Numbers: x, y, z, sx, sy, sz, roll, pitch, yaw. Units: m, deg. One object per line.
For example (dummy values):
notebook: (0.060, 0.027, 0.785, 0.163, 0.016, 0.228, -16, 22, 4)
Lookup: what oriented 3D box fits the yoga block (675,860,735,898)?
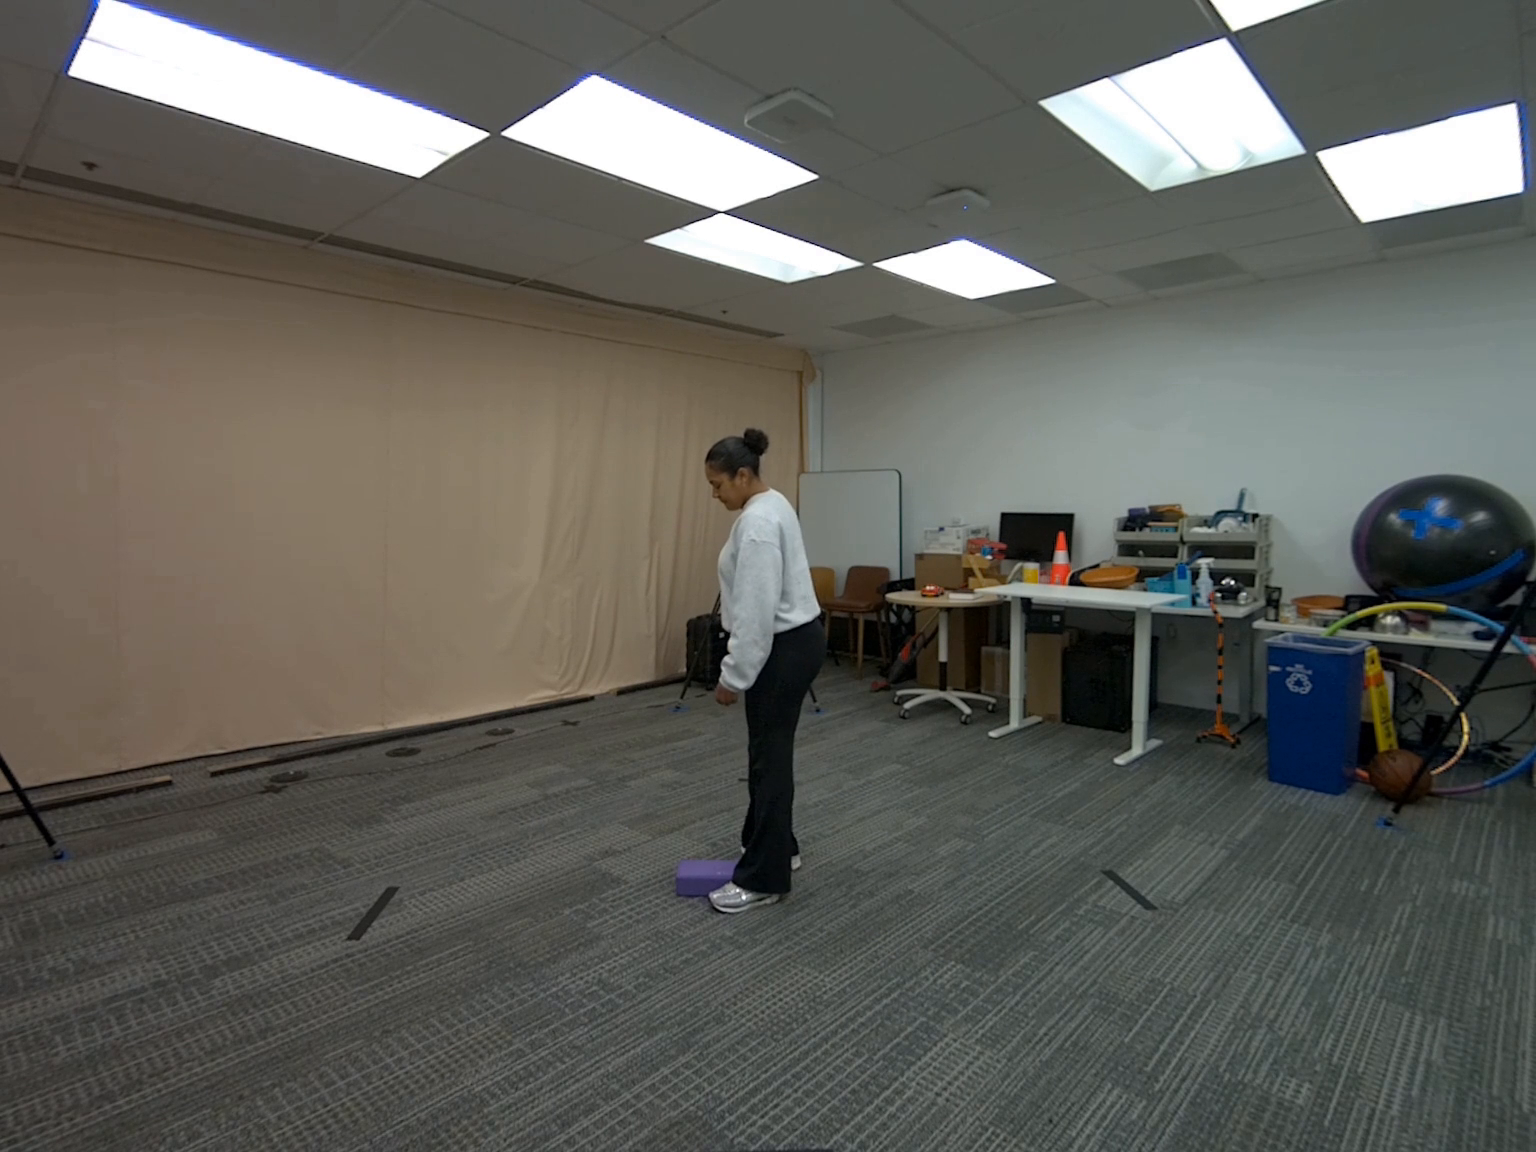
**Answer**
yoga block: (-0.214, 1.096, 3.062, 0.229, 0.076, 0.149, 0, 6, 0)
